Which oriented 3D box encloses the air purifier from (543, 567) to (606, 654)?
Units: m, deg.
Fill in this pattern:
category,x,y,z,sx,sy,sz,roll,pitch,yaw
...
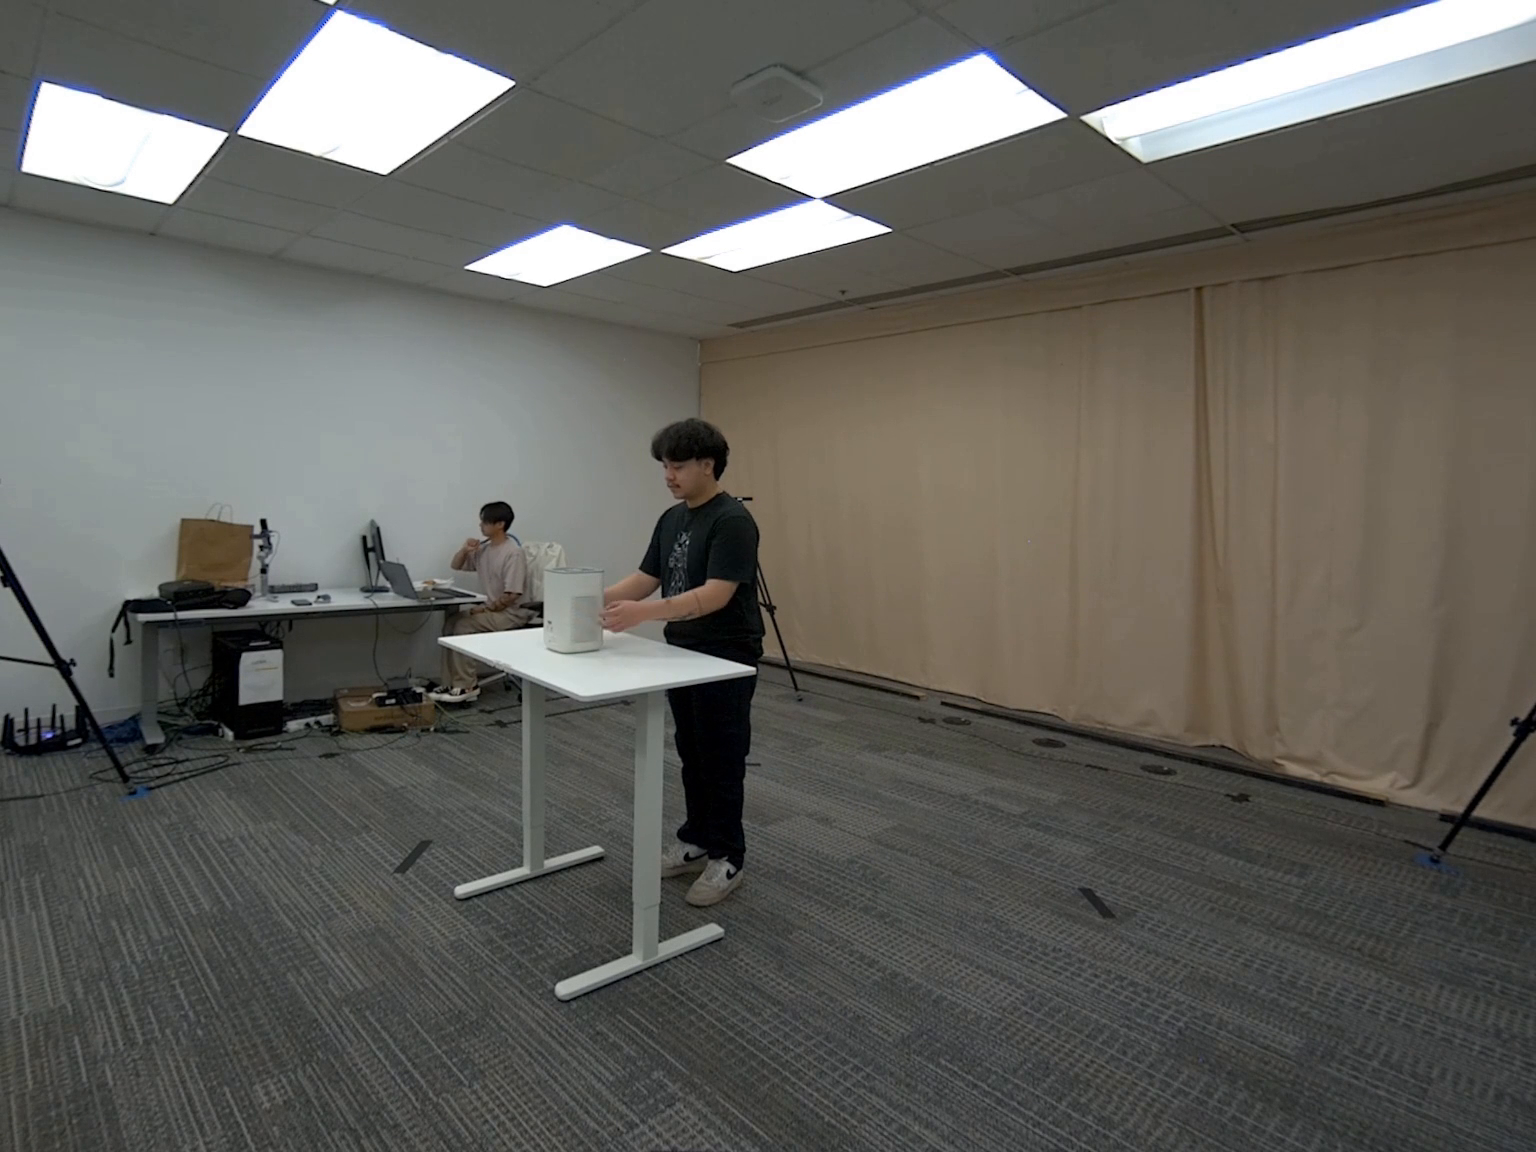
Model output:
category,x,y,z,sx,sy,sz,roll,pitch,yaw
air purifier,-0.650,0.115,2.765,0.168,0.265,0.175,-3,5,-39
